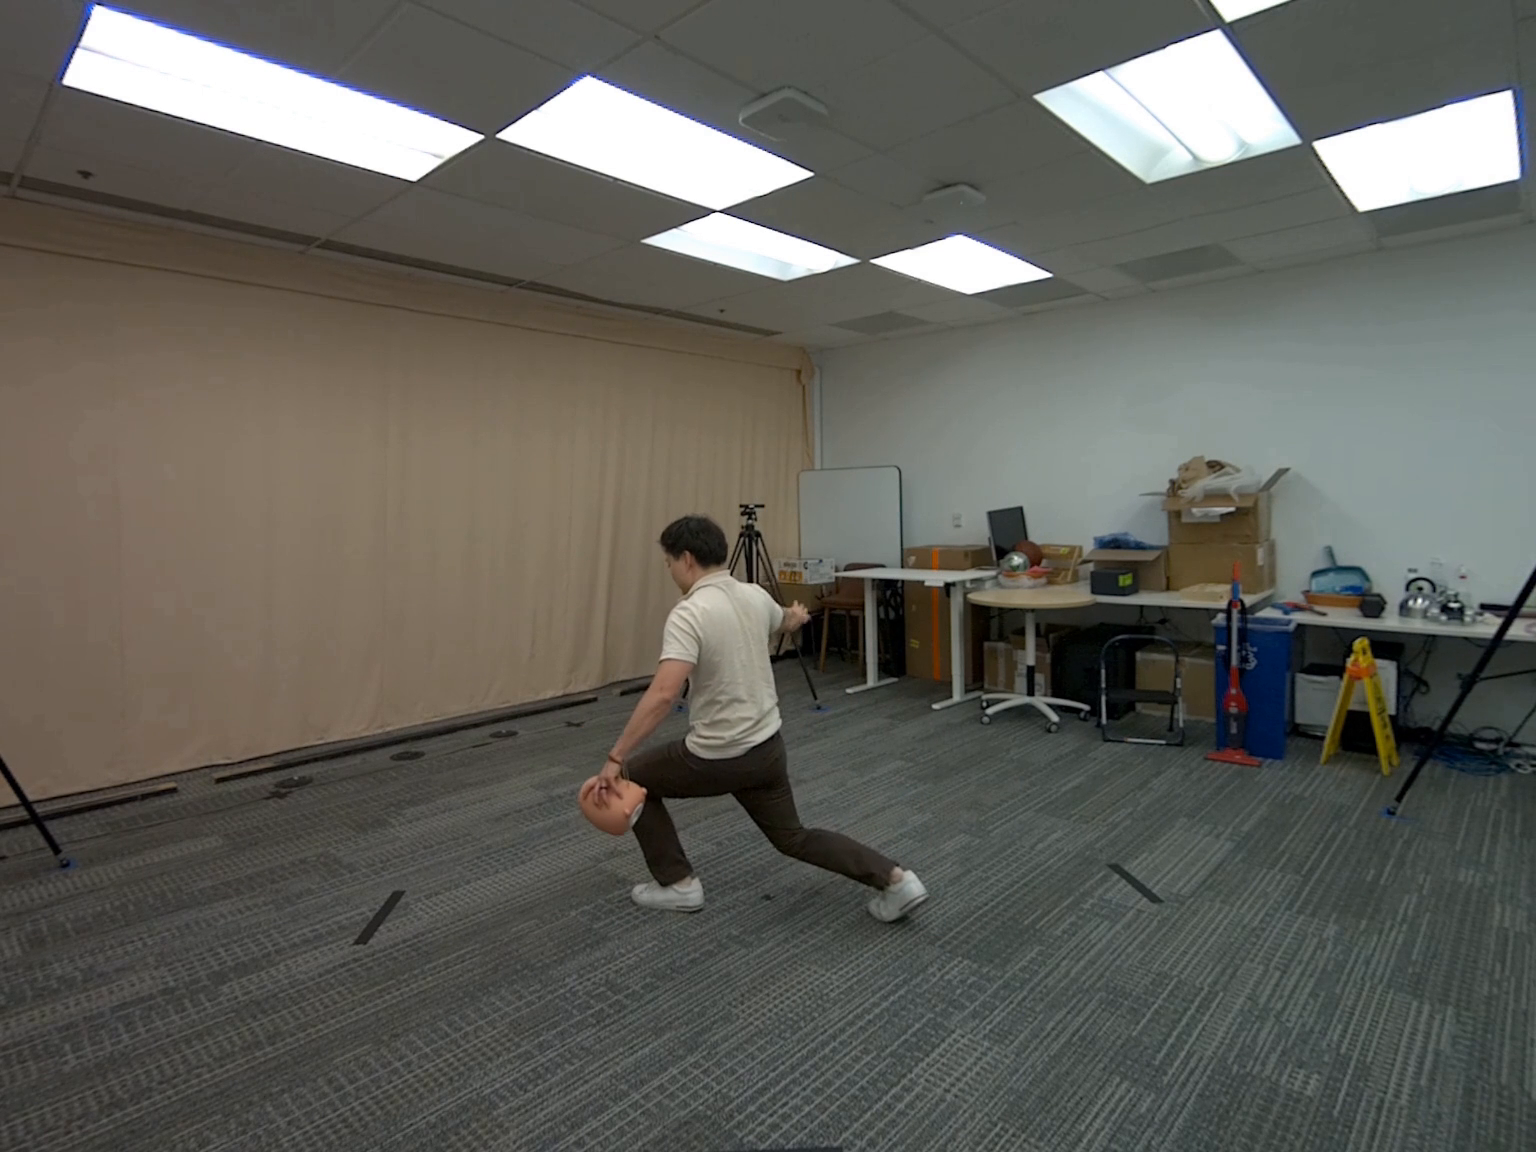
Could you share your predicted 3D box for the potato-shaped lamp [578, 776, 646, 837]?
[{"bbox_3d":[-0.492,0.703,2.614,0.201,0.170,0.163,26,34,12],"label":"potato-shaped lamp"}]
